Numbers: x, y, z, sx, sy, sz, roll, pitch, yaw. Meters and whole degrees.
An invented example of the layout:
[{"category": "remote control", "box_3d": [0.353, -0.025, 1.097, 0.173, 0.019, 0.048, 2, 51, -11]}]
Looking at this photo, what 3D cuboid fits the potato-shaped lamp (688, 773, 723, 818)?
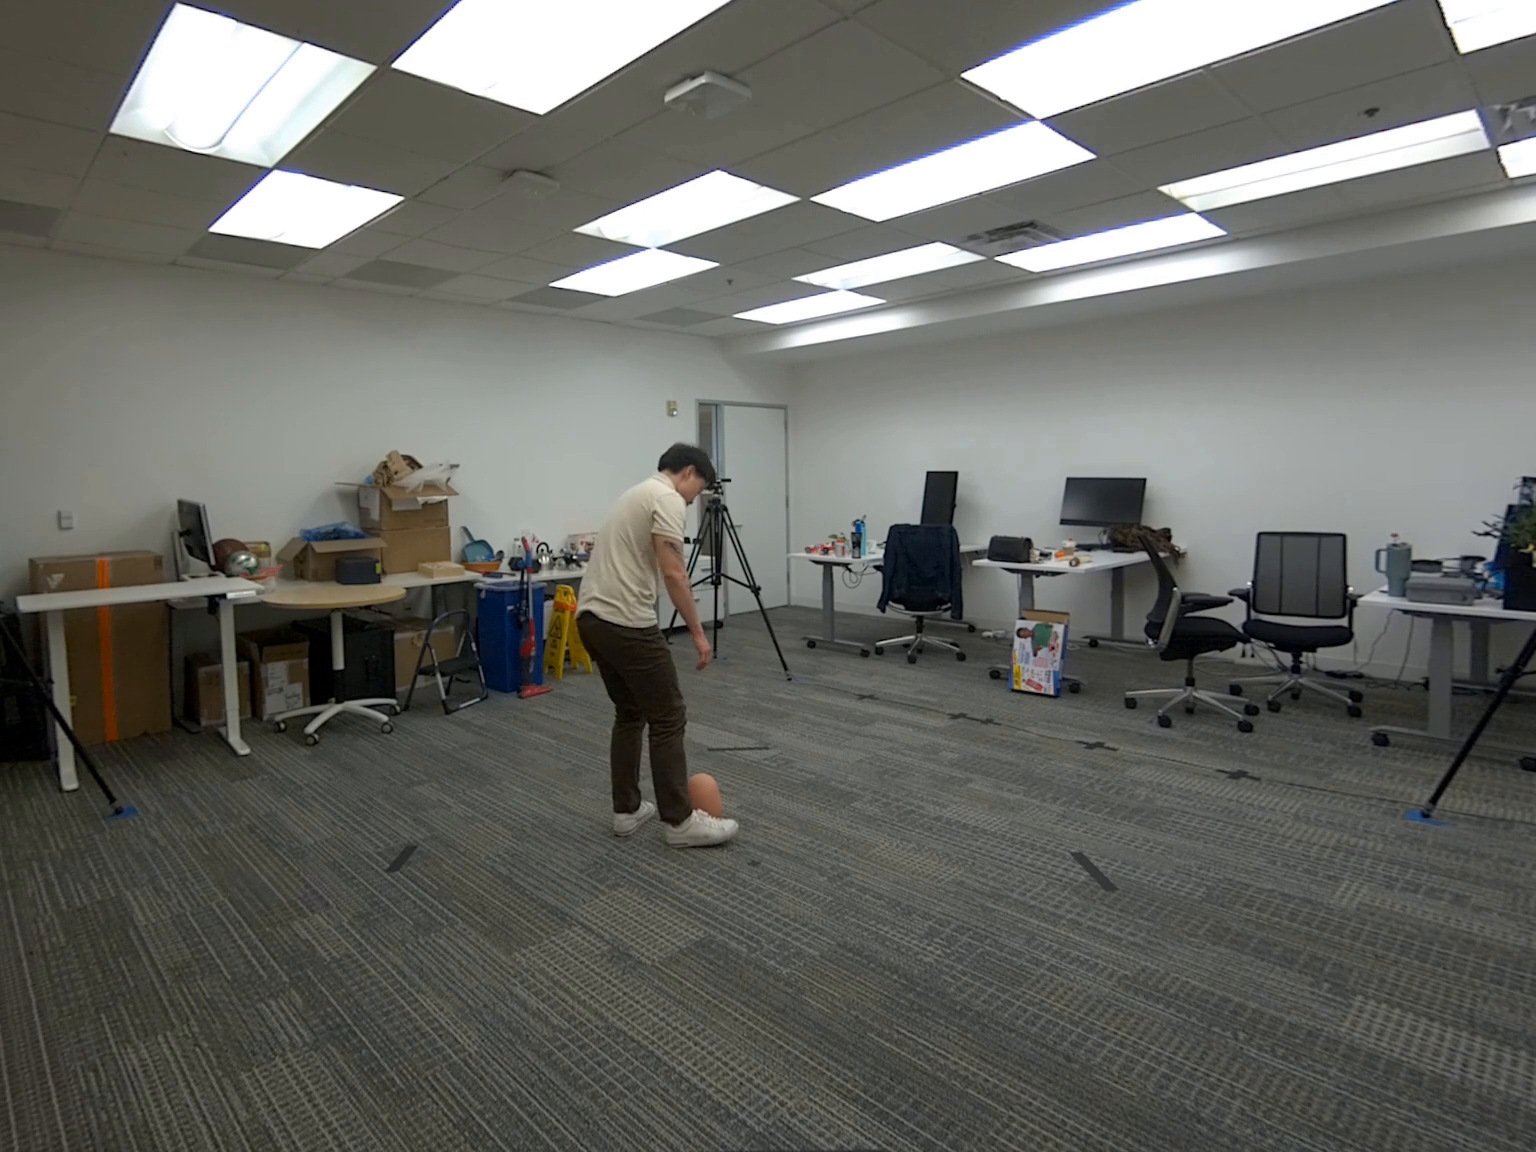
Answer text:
[{"category": "potato-shaped lamp", "box_3d": [-0.276, 0.907, 3.494, 0.166, 0.196, 0.171, -2, 8, 9]}]
